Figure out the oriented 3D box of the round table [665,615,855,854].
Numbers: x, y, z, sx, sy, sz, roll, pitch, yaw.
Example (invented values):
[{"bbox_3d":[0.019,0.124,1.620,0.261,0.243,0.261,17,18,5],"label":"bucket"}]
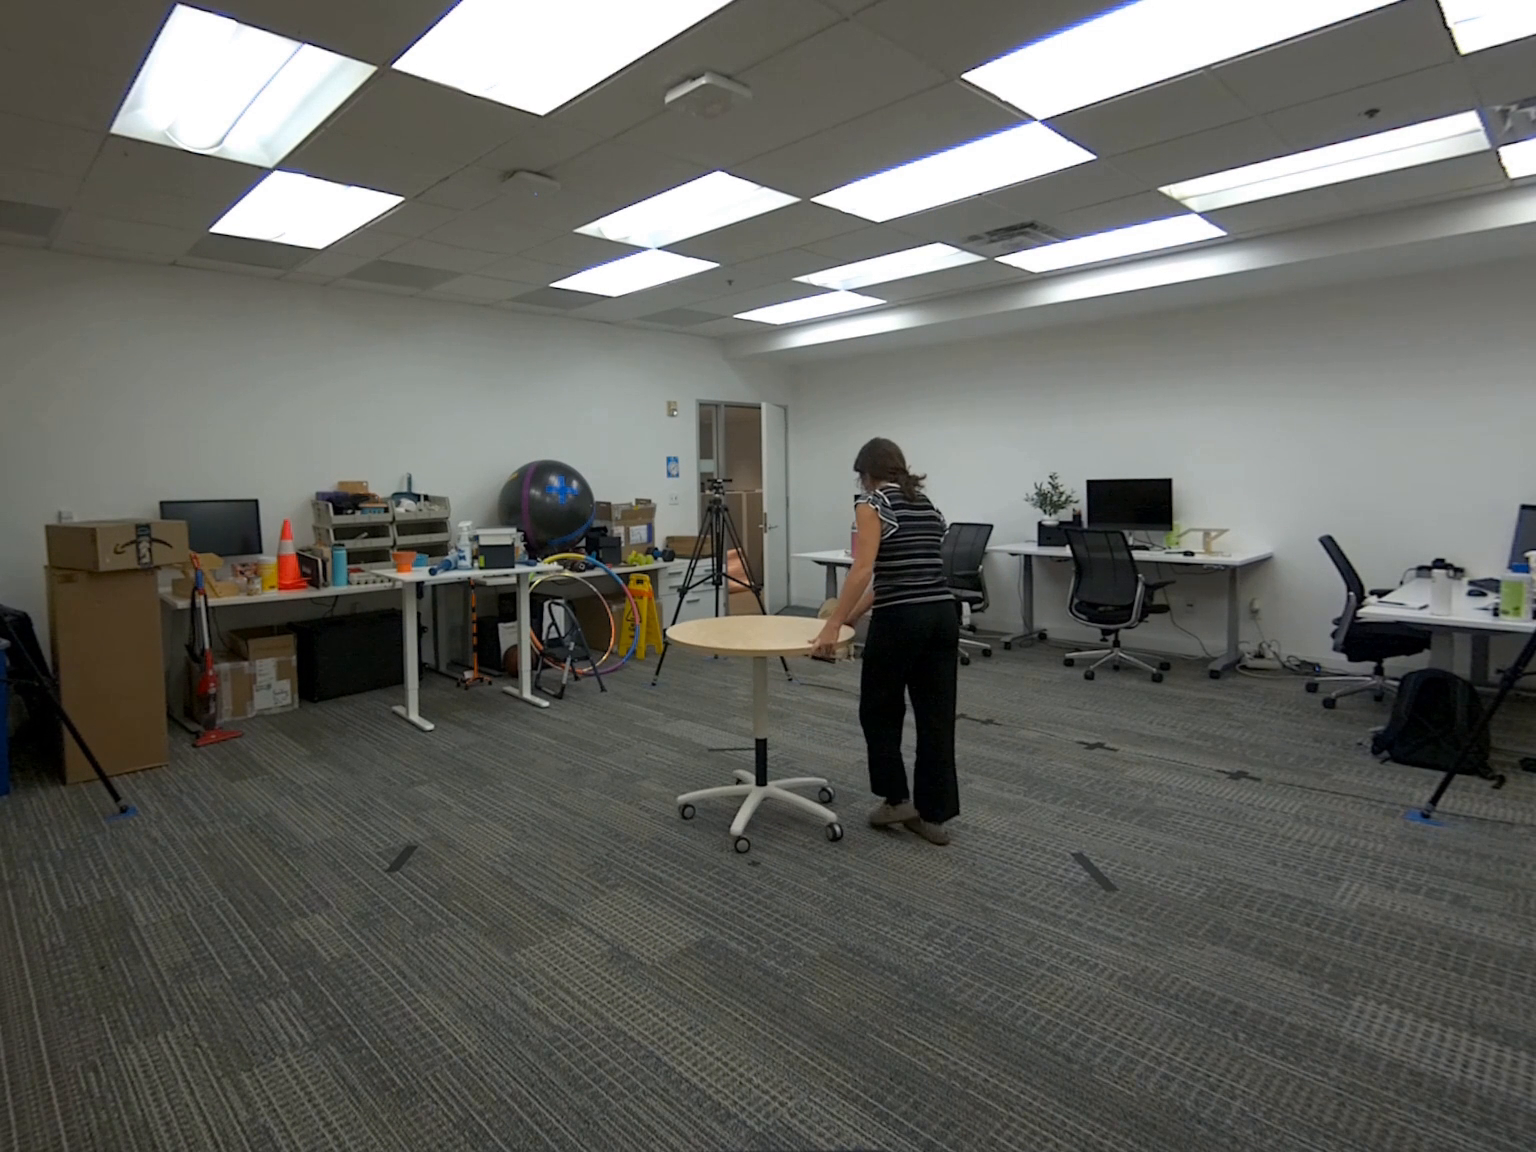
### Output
[{"bbox_3d":[-0.030,0.614,3.495,0.763,0.791,0.768,-1,5,-2],"label":"round table"}]
